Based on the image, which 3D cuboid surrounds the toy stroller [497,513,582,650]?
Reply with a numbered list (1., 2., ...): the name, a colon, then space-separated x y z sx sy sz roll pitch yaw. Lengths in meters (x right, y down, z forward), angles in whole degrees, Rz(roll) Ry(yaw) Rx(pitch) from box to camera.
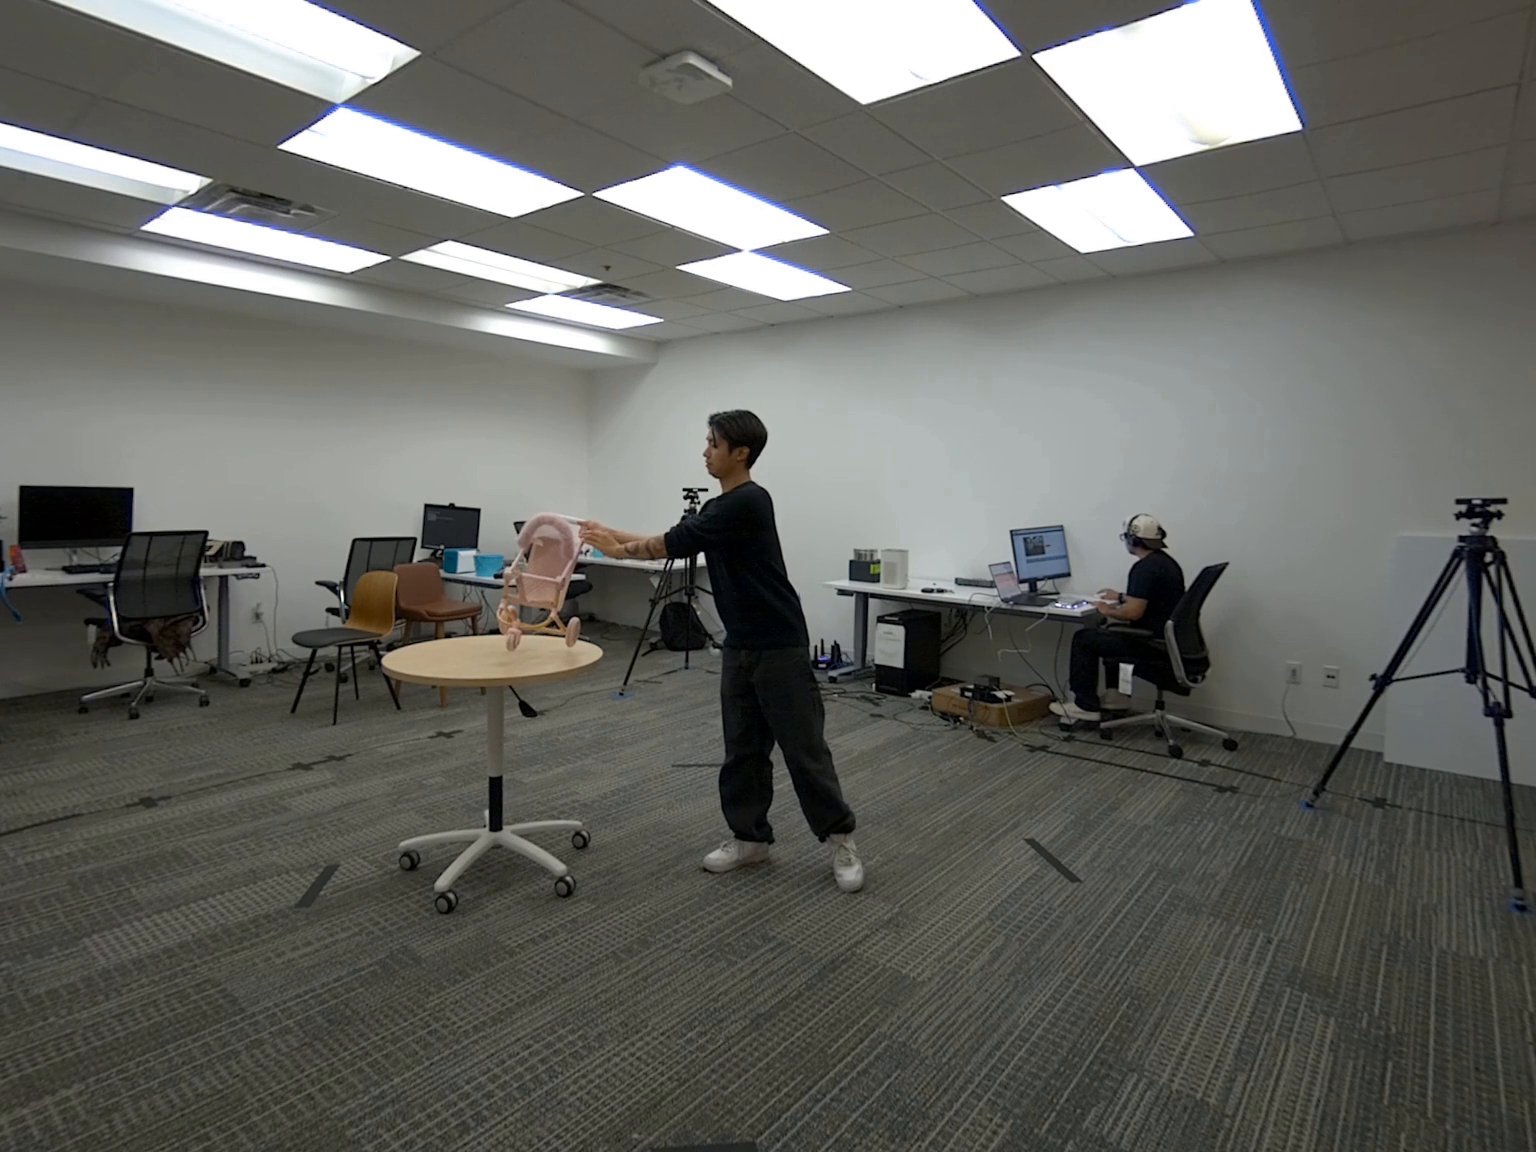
1. toy stroller: -0.827 0.013 3.033 0.286 0.538 0.334 10 -9 11
